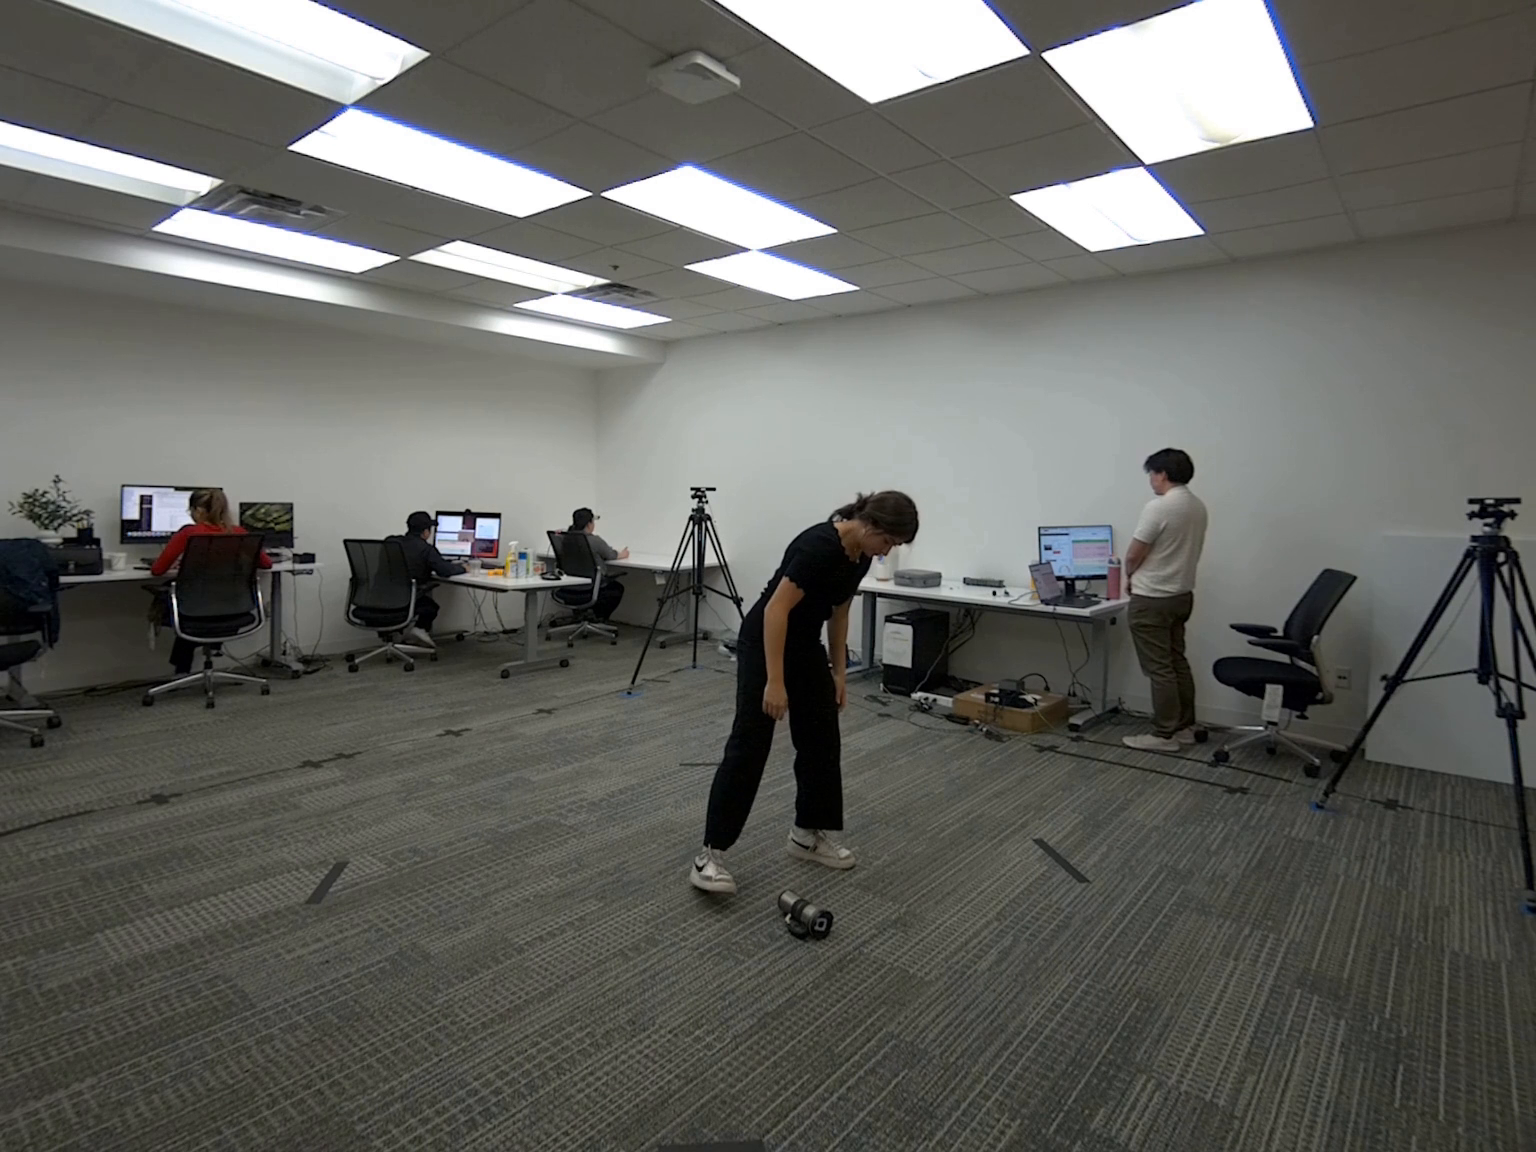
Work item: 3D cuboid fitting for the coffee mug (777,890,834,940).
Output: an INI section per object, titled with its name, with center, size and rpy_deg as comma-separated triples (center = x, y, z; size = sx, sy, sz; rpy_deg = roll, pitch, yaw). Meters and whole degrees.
[coffee mug]
center = 0.094, 1.065, 2.706
size = 0.118, 0.088, 0.210
rpy_deg = 10, -1, -36
